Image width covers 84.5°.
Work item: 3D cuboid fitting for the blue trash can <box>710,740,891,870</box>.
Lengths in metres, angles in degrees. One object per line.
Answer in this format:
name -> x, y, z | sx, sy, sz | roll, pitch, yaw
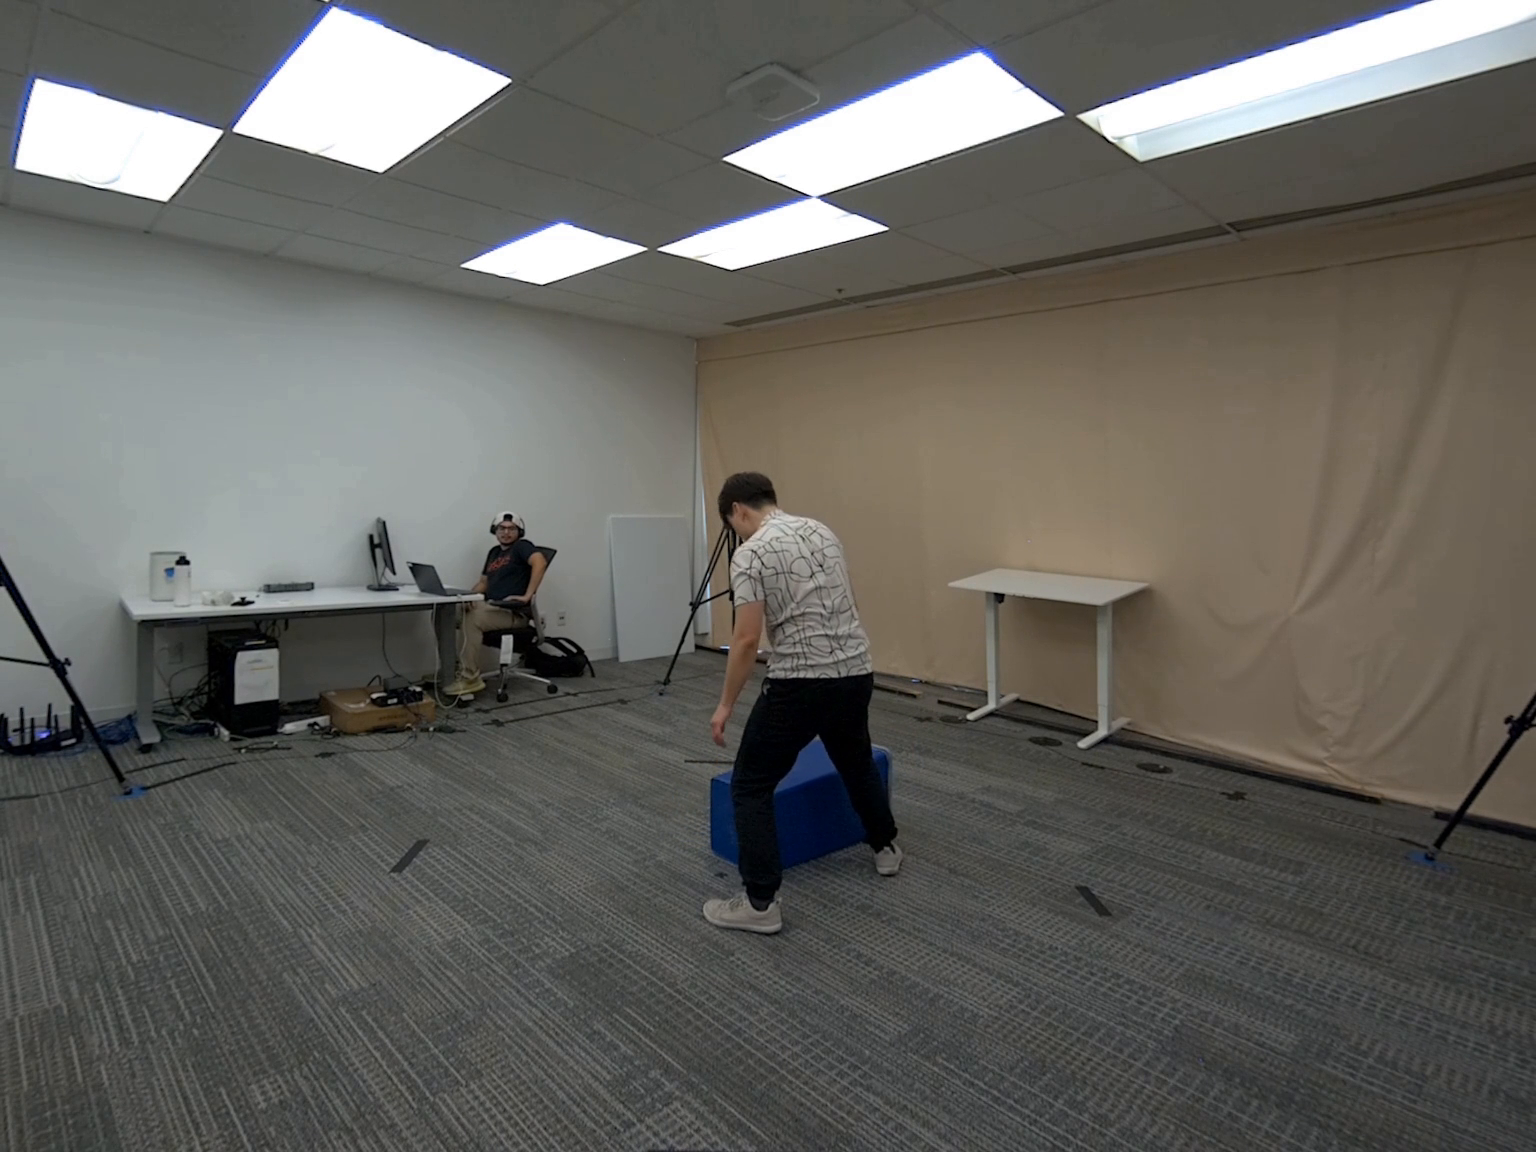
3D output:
blue trash can -> 0.123, 0.910, 3.413 | 0.698, 0.376, 0.384 | -5, 8, -41
